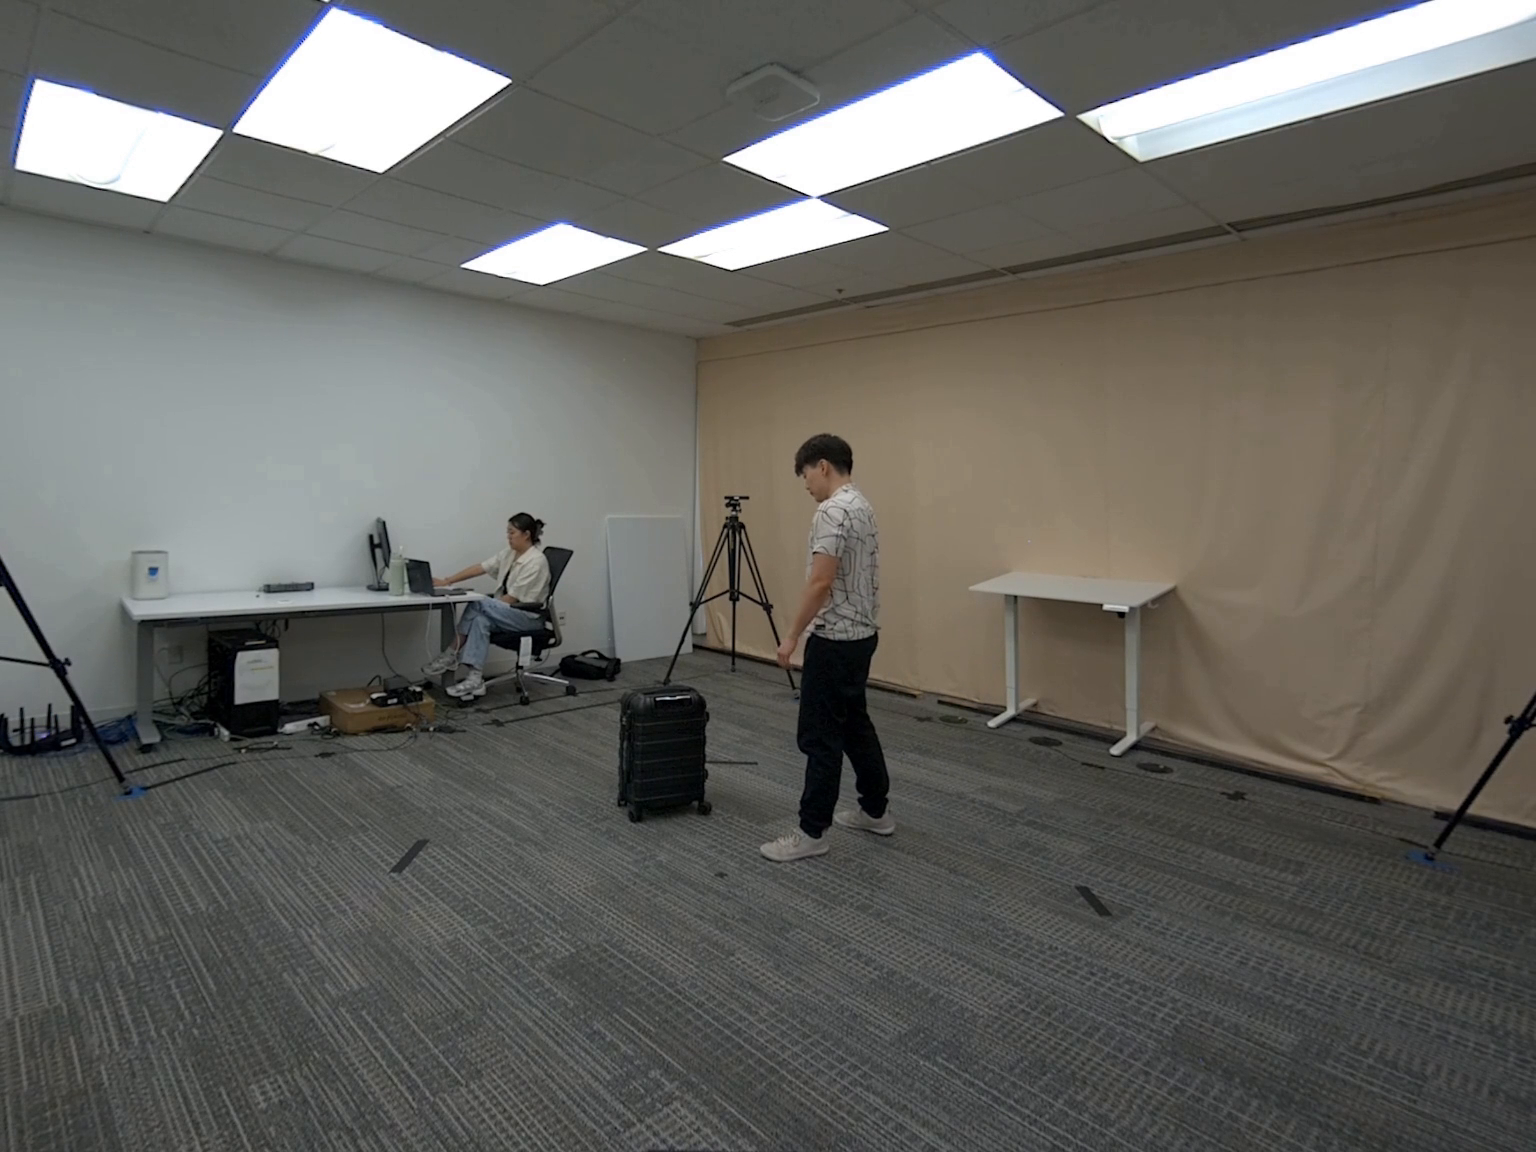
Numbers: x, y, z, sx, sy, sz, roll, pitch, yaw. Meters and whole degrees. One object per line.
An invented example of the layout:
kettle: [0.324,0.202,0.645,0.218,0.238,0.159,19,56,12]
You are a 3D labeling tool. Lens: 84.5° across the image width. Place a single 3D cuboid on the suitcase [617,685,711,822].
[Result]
suitcase: [-0.477,0.762,3.730,0.369,0.548,0.253,-1,3,-25]
